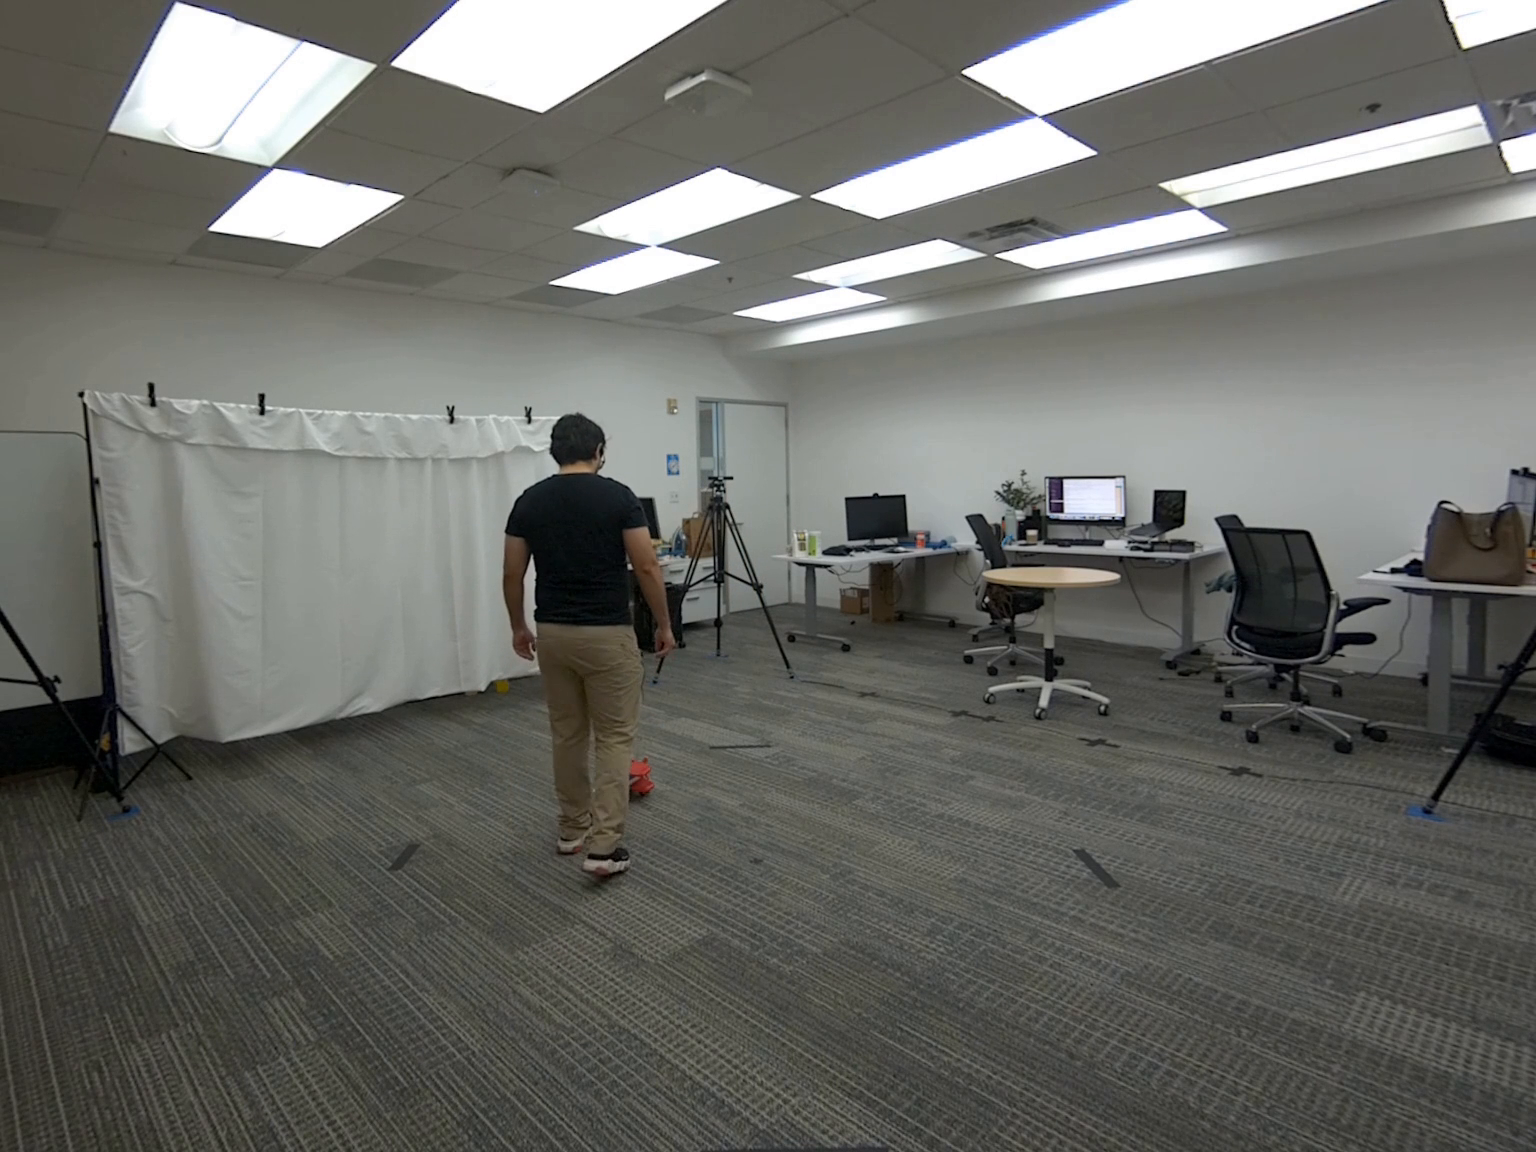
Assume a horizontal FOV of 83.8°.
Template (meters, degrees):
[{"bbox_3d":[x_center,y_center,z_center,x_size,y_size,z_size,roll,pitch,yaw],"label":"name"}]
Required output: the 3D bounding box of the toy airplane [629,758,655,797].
[{"bbox_3d":[-0.616,0.901,3.733,0.254,0.156,0.257,0,4,10],"label":"toy airplane"}]
